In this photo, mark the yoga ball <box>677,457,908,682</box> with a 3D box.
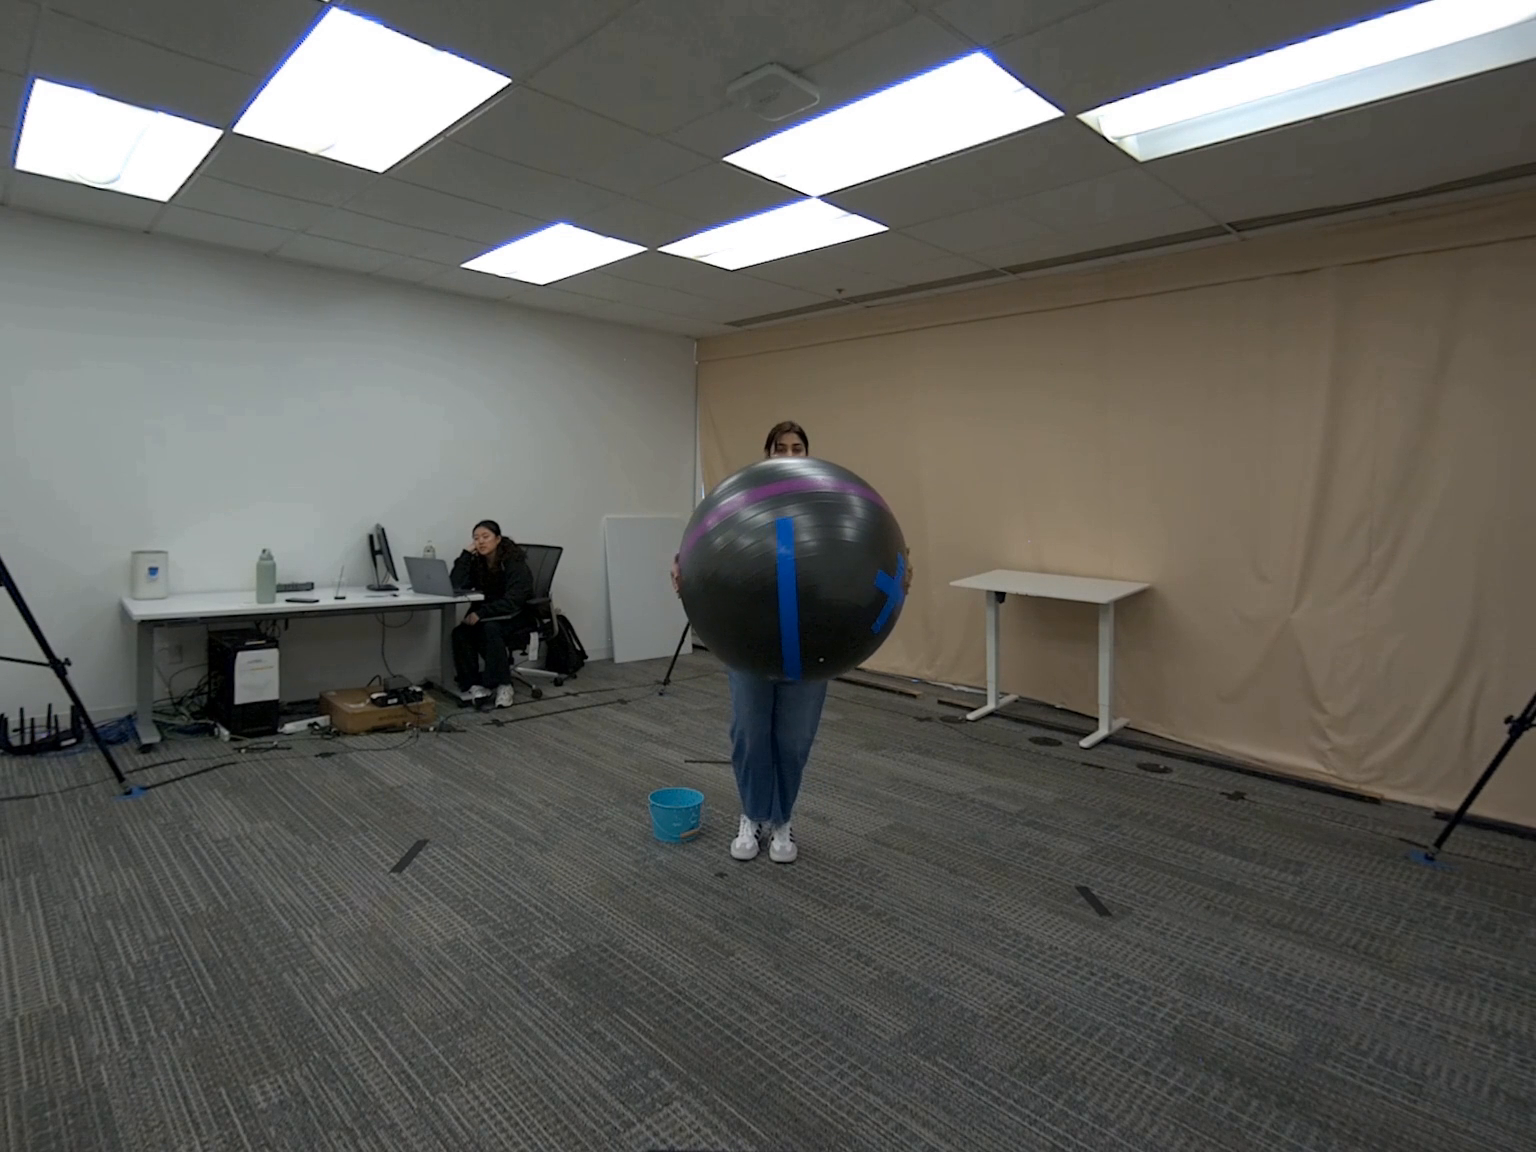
[{"bbox_3d":[0.078,-0.009,2.791,0.757,0.756,0.761,1,4,-1],"label":"yoga ball"}]
